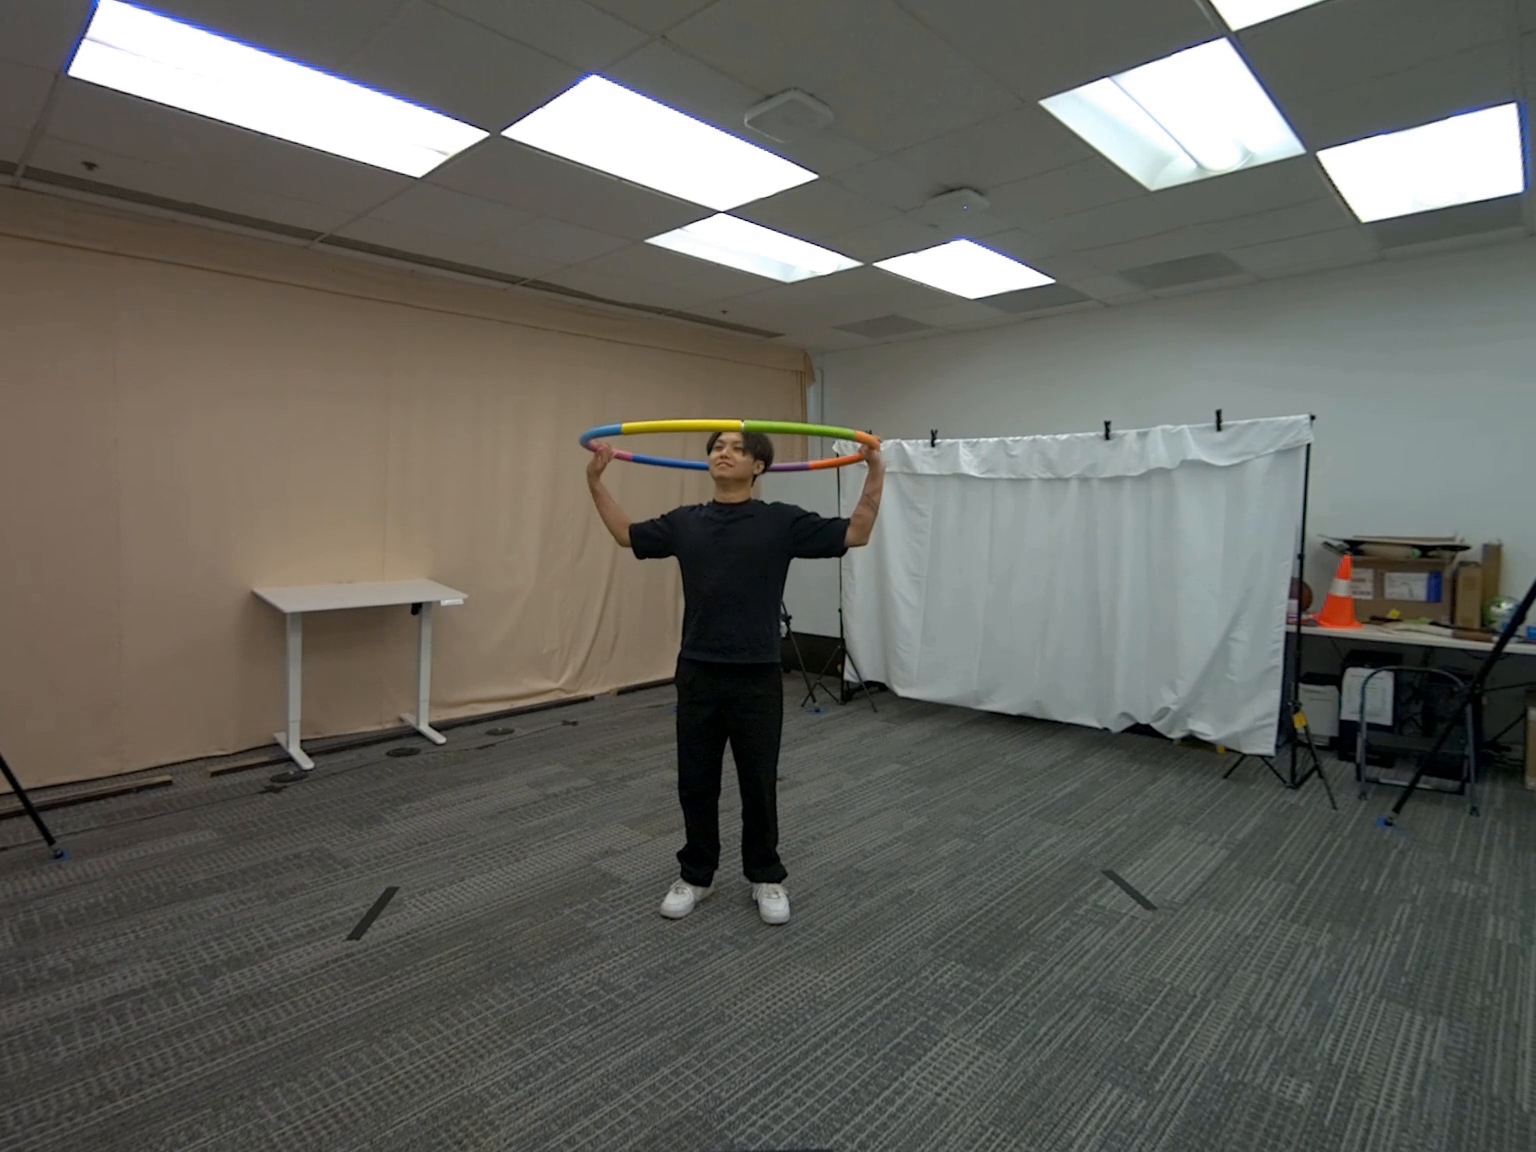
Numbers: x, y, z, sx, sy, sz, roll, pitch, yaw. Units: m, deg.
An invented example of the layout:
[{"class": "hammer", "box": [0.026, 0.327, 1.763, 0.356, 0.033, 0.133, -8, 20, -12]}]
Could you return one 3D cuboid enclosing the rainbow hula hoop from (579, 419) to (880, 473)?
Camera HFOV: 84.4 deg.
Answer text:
[{"class": "rainbow hula hoop", "box": [-0.125, -0.426, 2.840, 0.978, 0.035, 0.979, 2, 0, -2]}]
